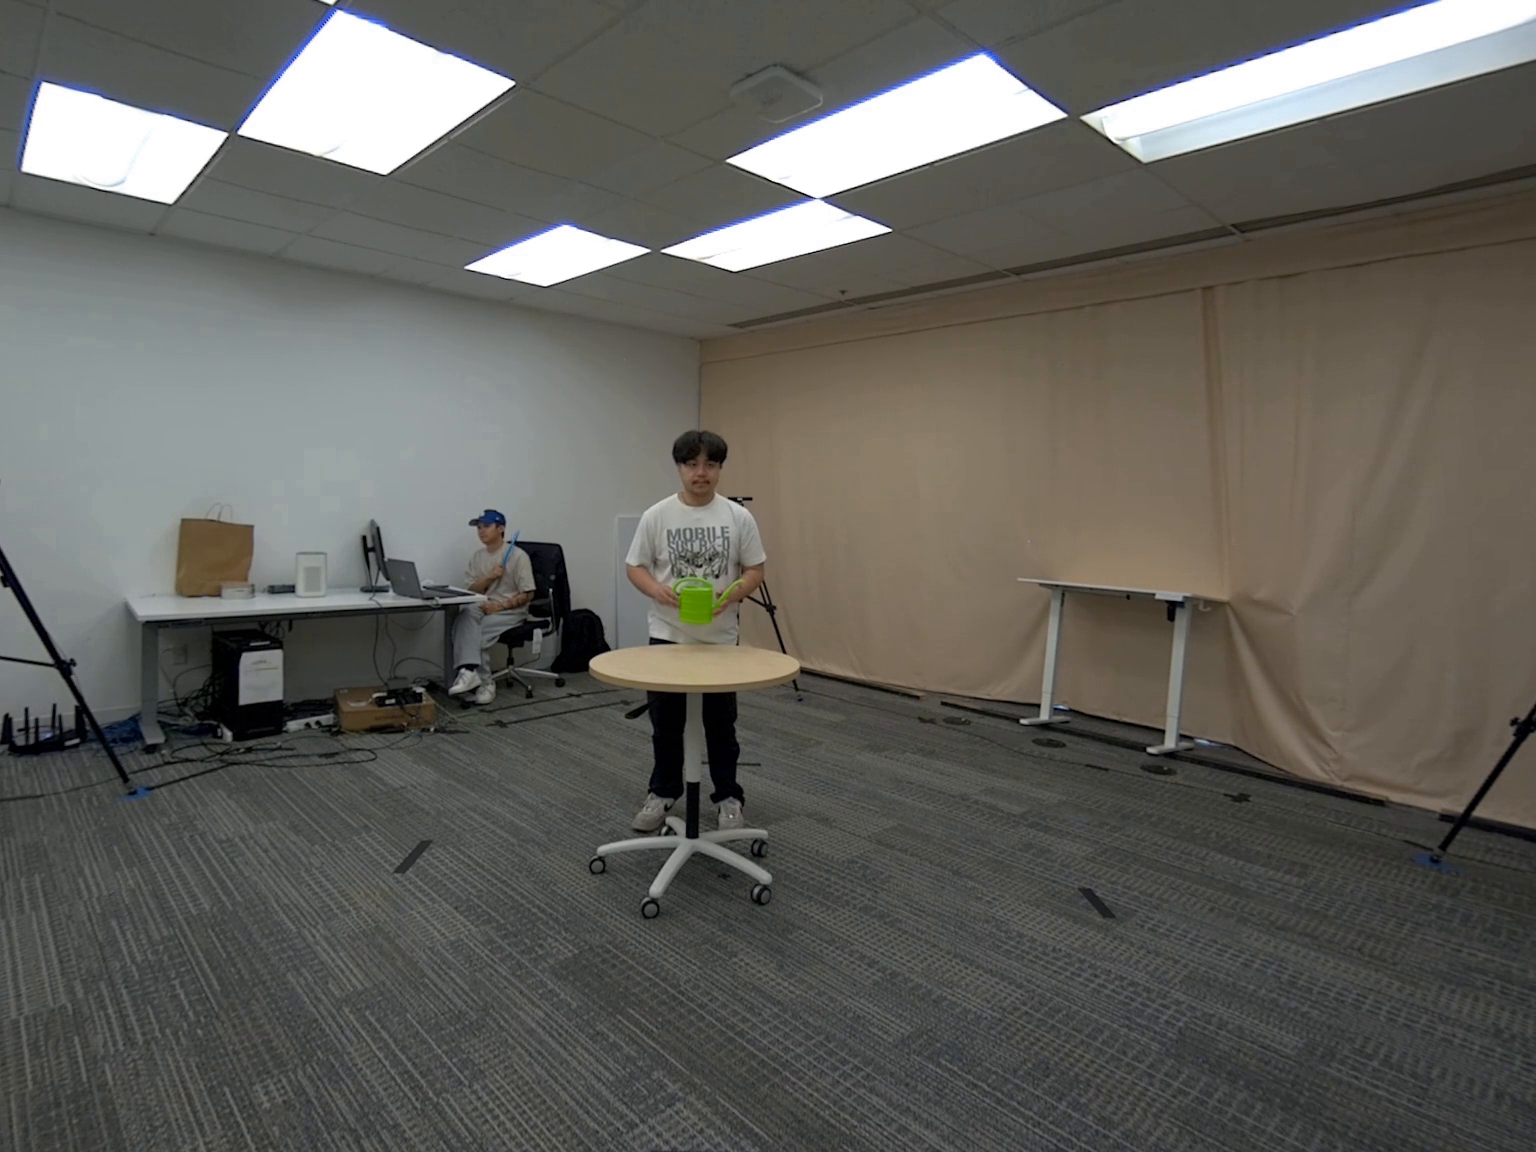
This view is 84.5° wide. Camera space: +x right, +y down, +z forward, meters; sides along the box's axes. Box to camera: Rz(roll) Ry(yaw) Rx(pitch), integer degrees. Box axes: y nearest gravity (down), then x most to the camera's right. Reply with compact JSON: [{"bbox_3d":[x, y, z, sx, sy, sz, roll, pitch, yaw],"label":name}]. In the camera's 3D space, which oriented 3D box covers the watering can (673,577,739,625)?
[{"bbox_3d":[-0.253,0.100,3.285,0.281,0.176,0.097,6,8,10],"label":"watering can"}]
